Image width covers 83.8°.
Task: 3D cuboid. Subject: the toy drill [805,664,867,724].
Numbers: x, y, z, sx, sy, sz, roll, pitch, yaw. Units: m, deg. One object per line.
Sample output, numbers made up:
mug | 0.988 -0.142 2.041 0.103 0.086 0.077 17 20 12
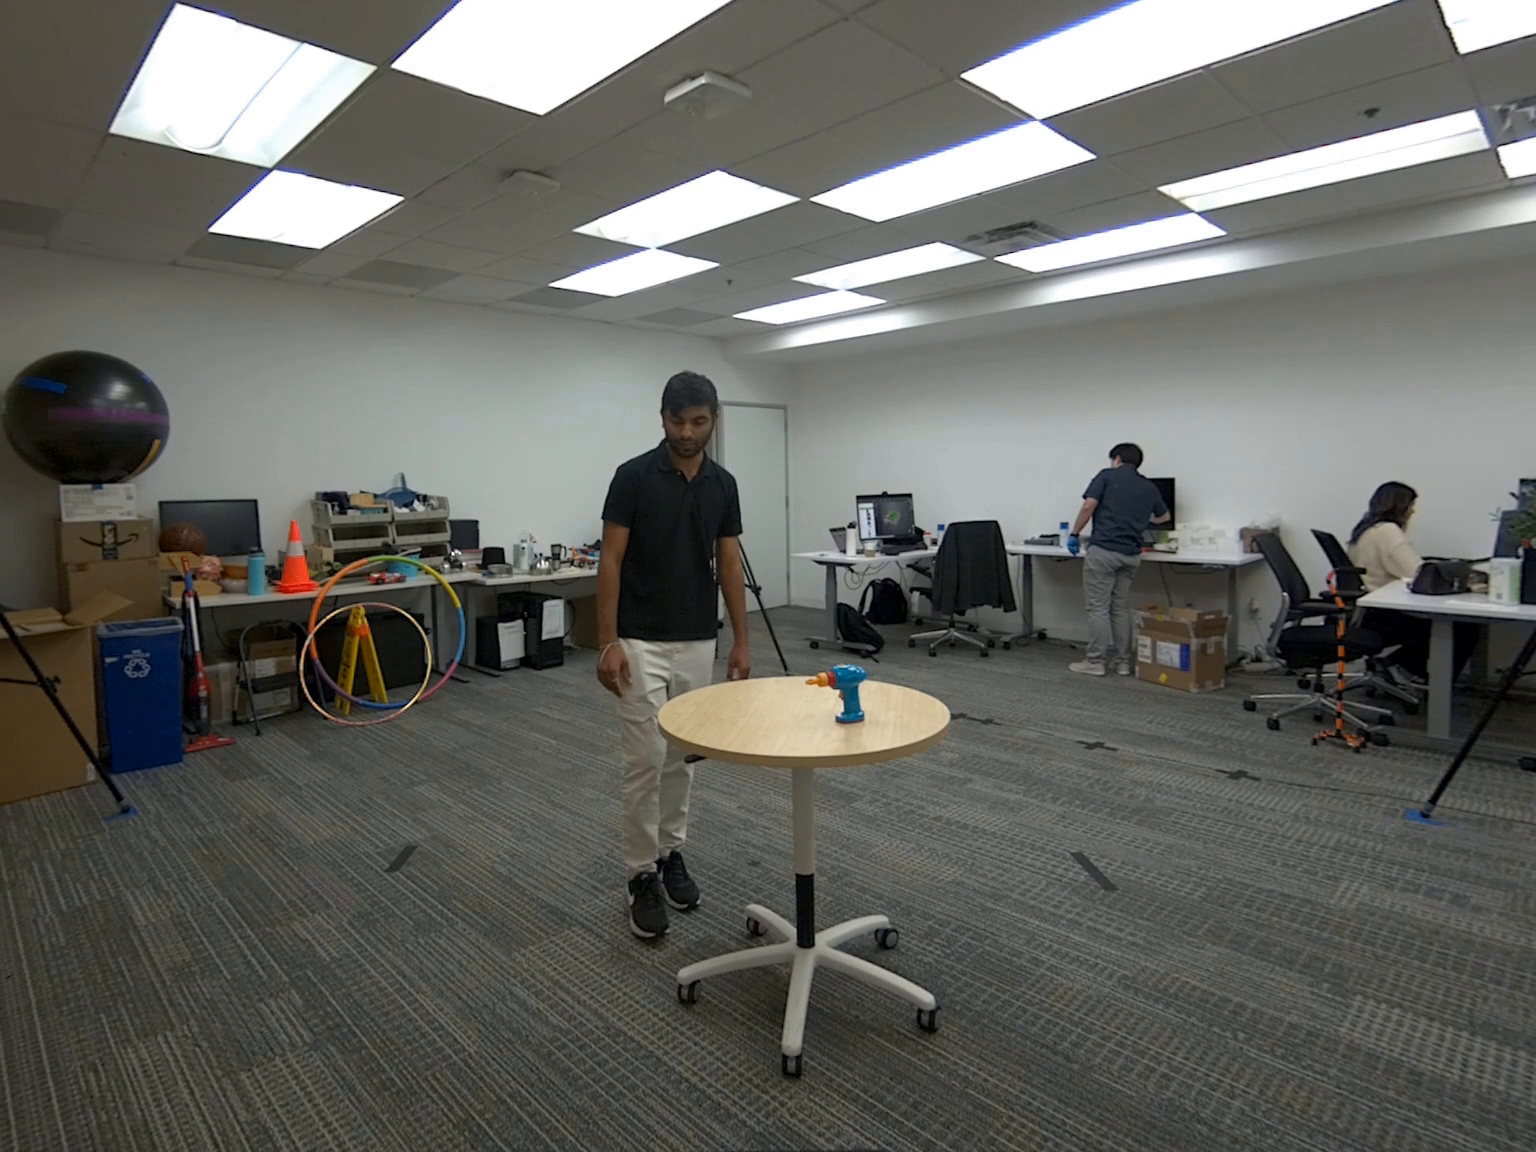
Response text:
toy drill | 0.175 0.297 2.132 0.167 0.145 0.062 -5 8 -20
